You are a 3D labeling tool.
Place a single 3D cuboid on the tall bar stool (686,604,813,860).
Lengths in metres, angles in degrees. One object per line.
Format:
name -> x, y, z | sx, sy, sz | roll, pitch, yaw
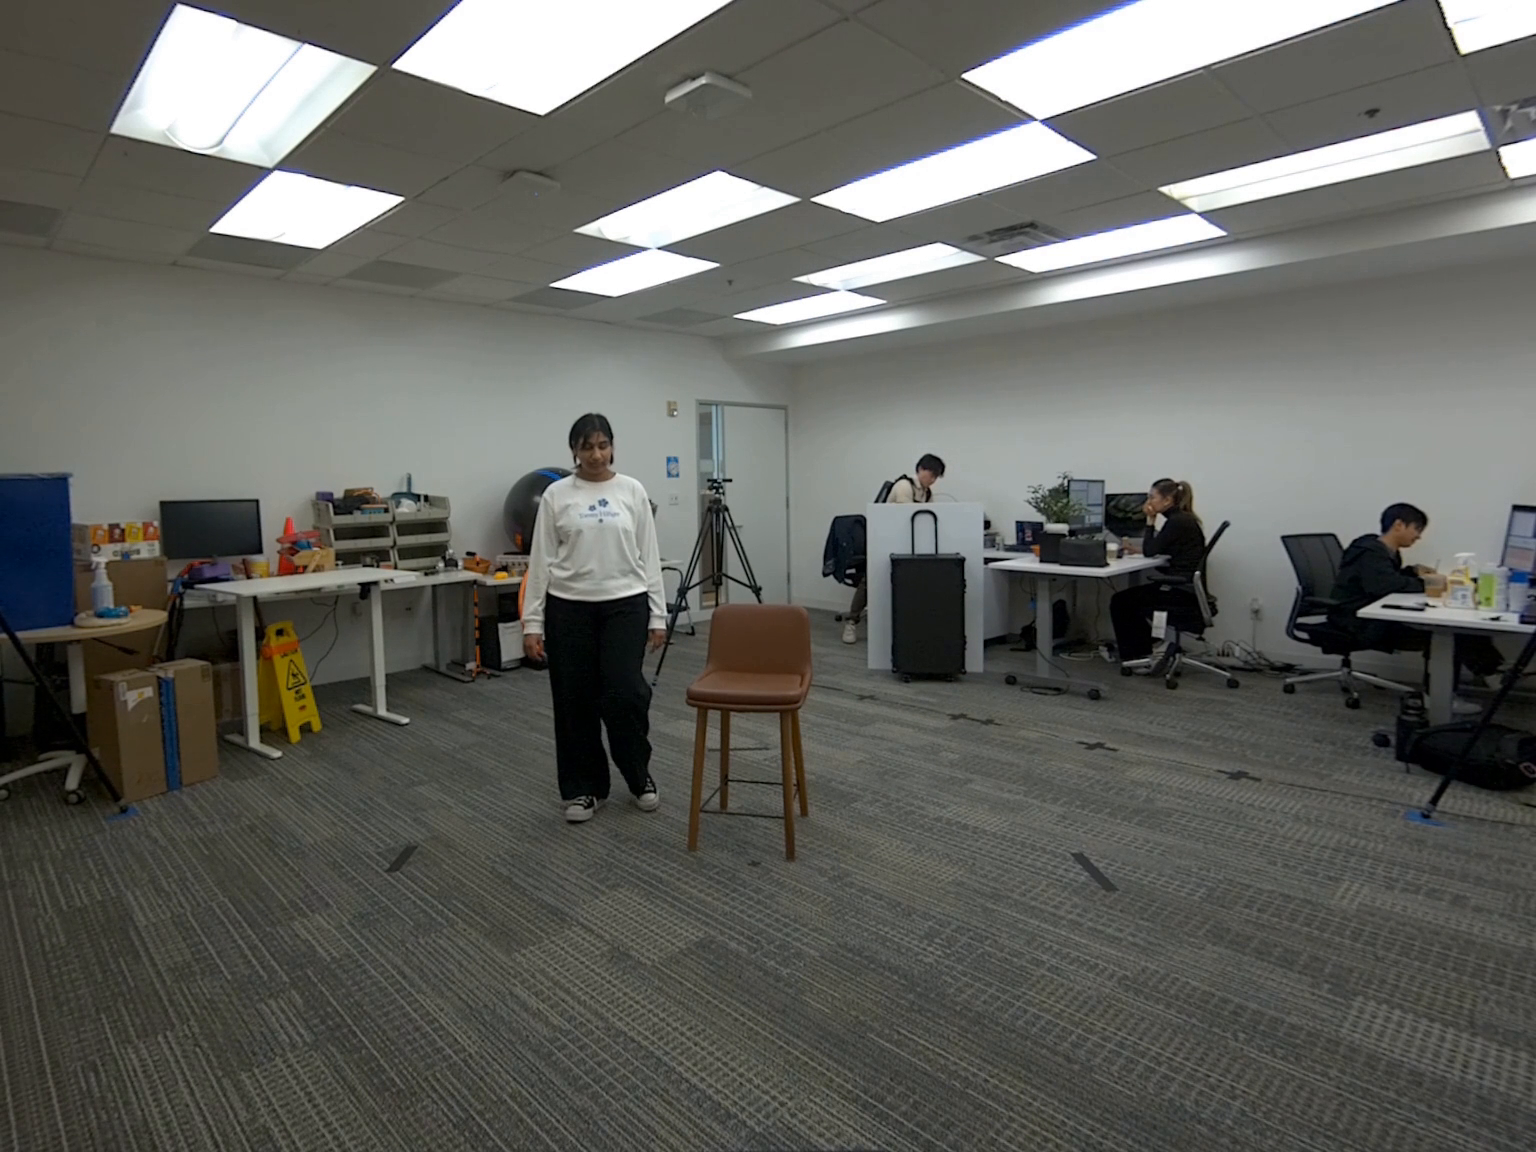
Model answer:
tall bar stool -> -0.066, 0.582, 3.366 | 0.463, 0.888, 0.462 | 0, 2, 14
